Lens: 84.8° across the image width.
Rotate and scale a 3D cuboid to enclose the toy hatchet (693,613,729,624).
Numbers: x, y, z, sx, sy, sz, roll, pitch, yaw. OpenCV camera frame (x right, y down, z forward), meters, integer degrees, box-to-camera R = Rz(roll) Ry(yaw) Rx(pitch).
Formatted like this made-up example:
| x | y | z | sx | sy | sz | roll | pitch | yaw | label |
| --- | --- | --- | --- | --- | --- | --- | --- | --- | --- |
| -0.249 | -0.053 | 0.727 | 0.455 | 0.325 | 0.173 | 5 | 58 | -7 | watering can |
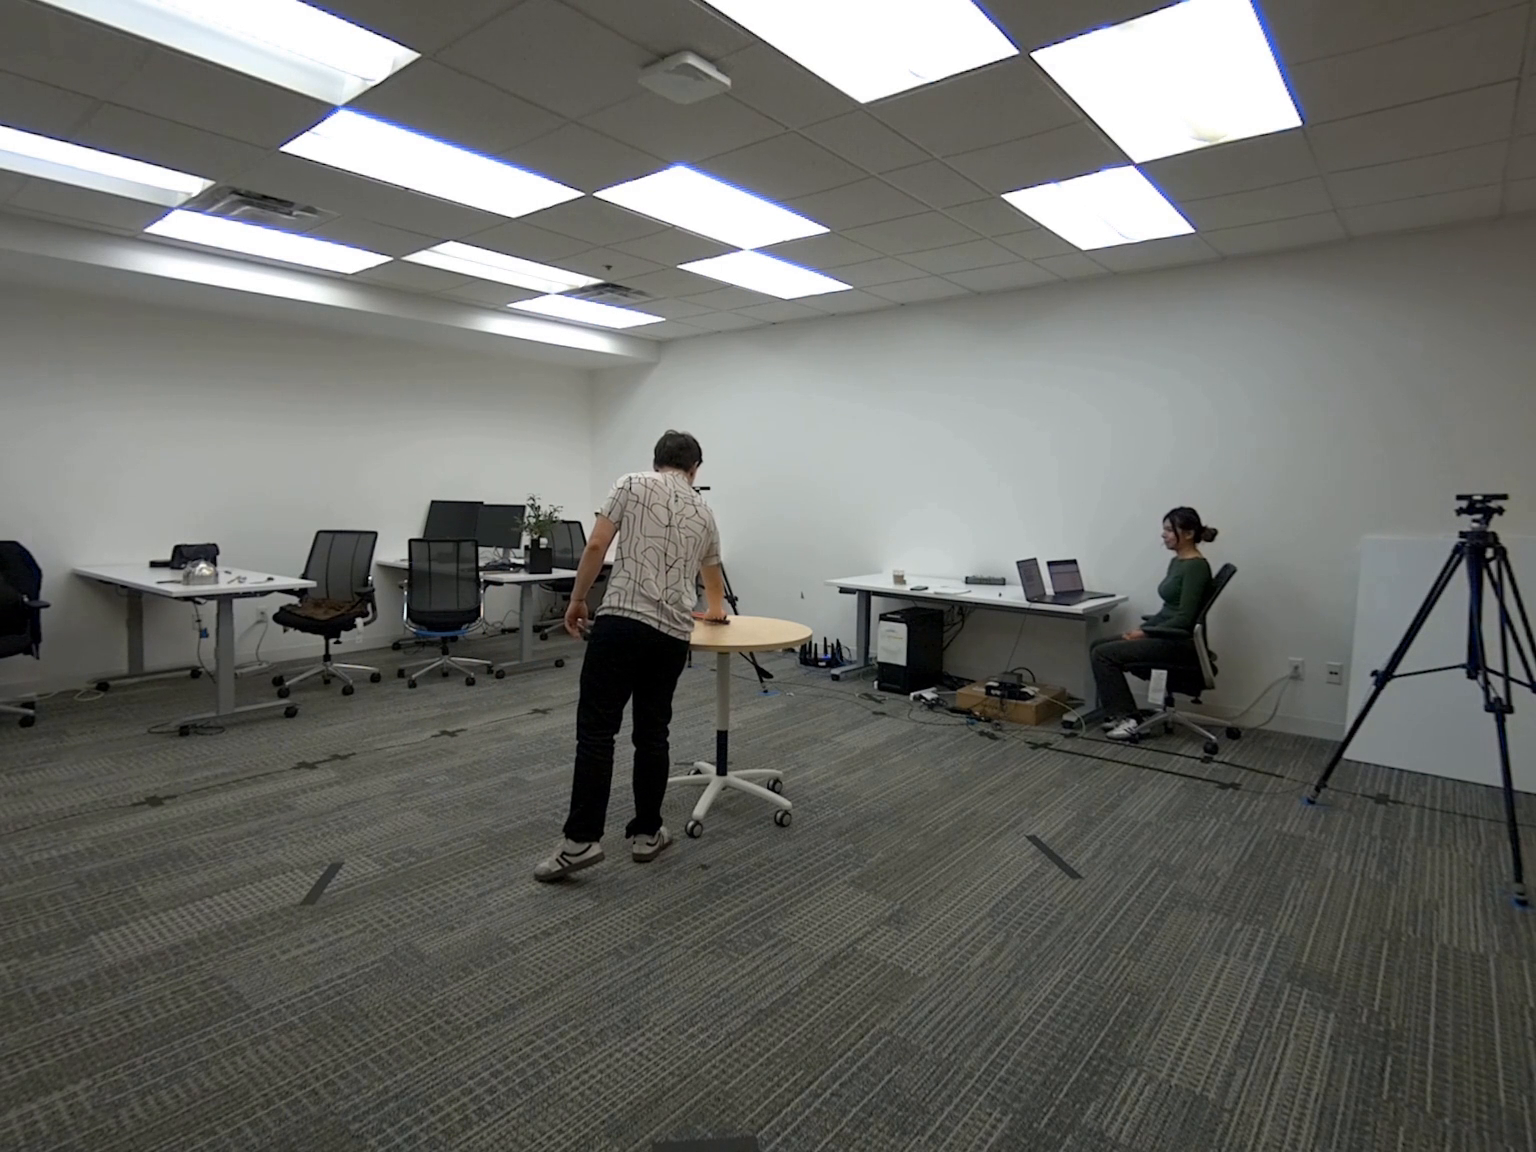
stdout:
| x | y | z | sx | sy | sz | roll | pitch | yaw | label |
| --- | --- | --- | --- | --- | --- | --- | --- | --- | --- |
| -0.283 | 0.192 | 3.901 | 0.278 | 0.029 | 0.128 | 7 | 6 | 29 | toy hatchet |
